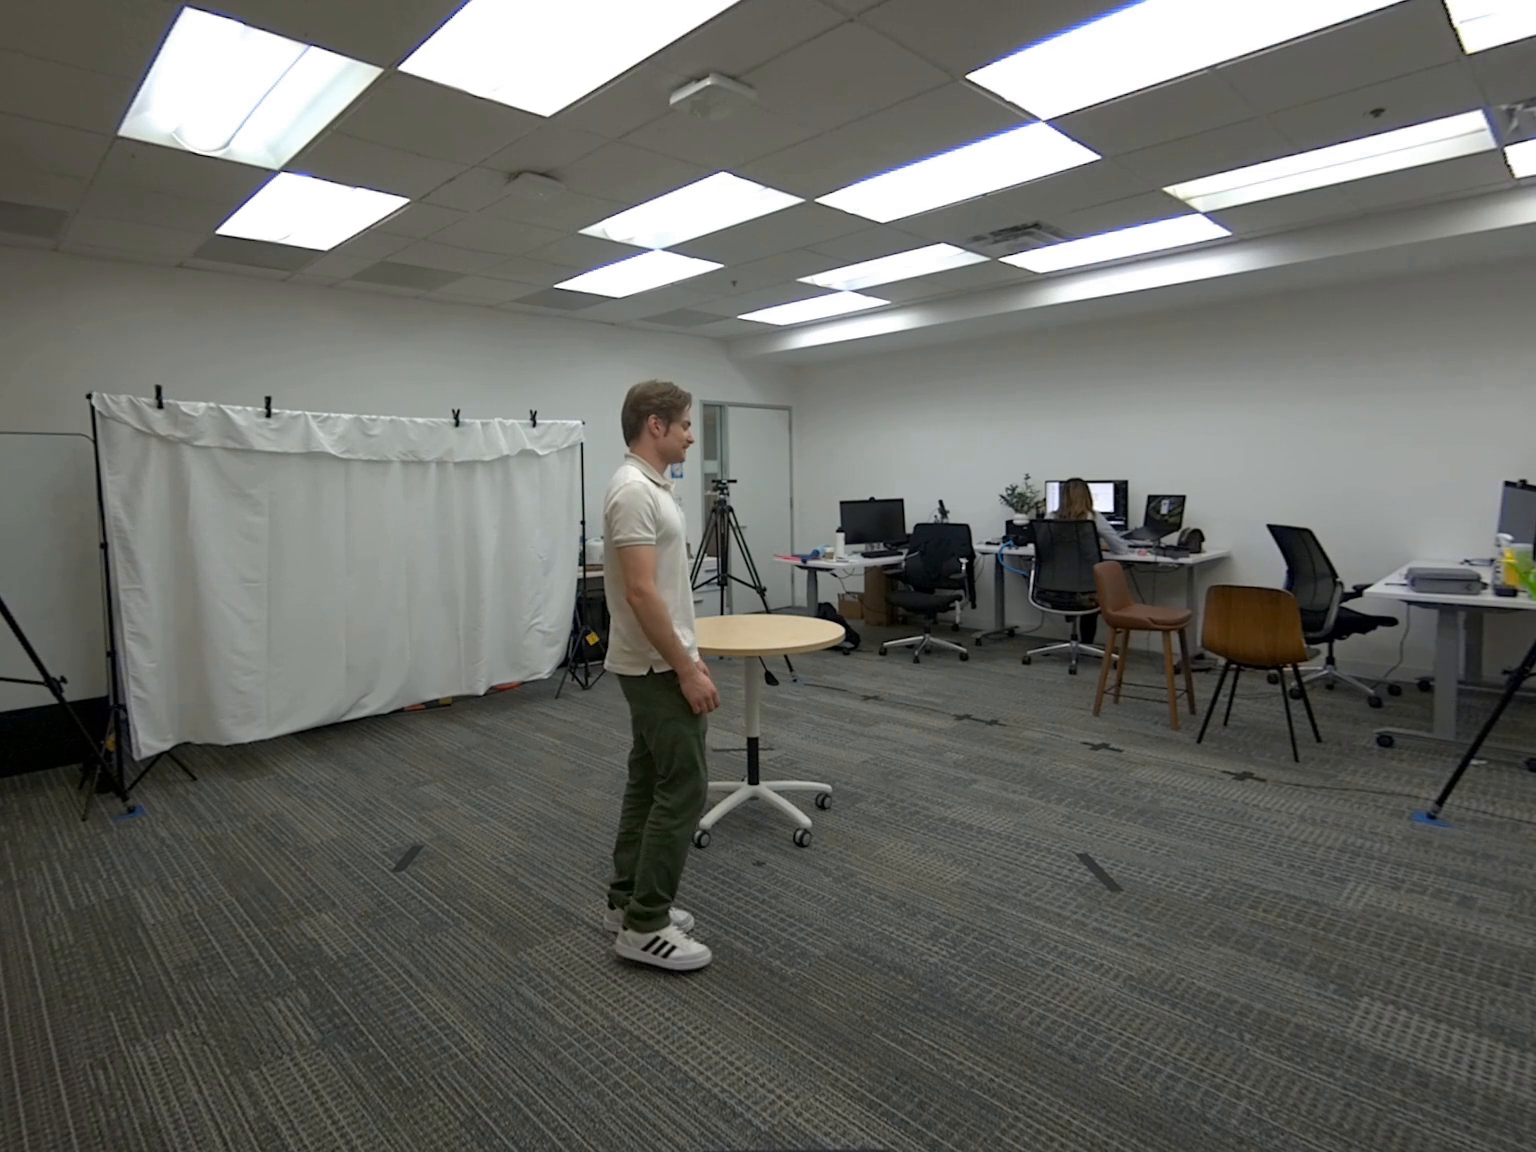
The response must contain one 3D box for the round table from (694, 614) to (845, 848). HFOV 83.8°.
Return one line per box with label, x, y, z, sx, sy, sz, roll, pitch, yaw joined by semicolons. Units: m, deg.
round table;-0.060;0.614;3.515;0.763;0.791;0.768;-1;5;-2
